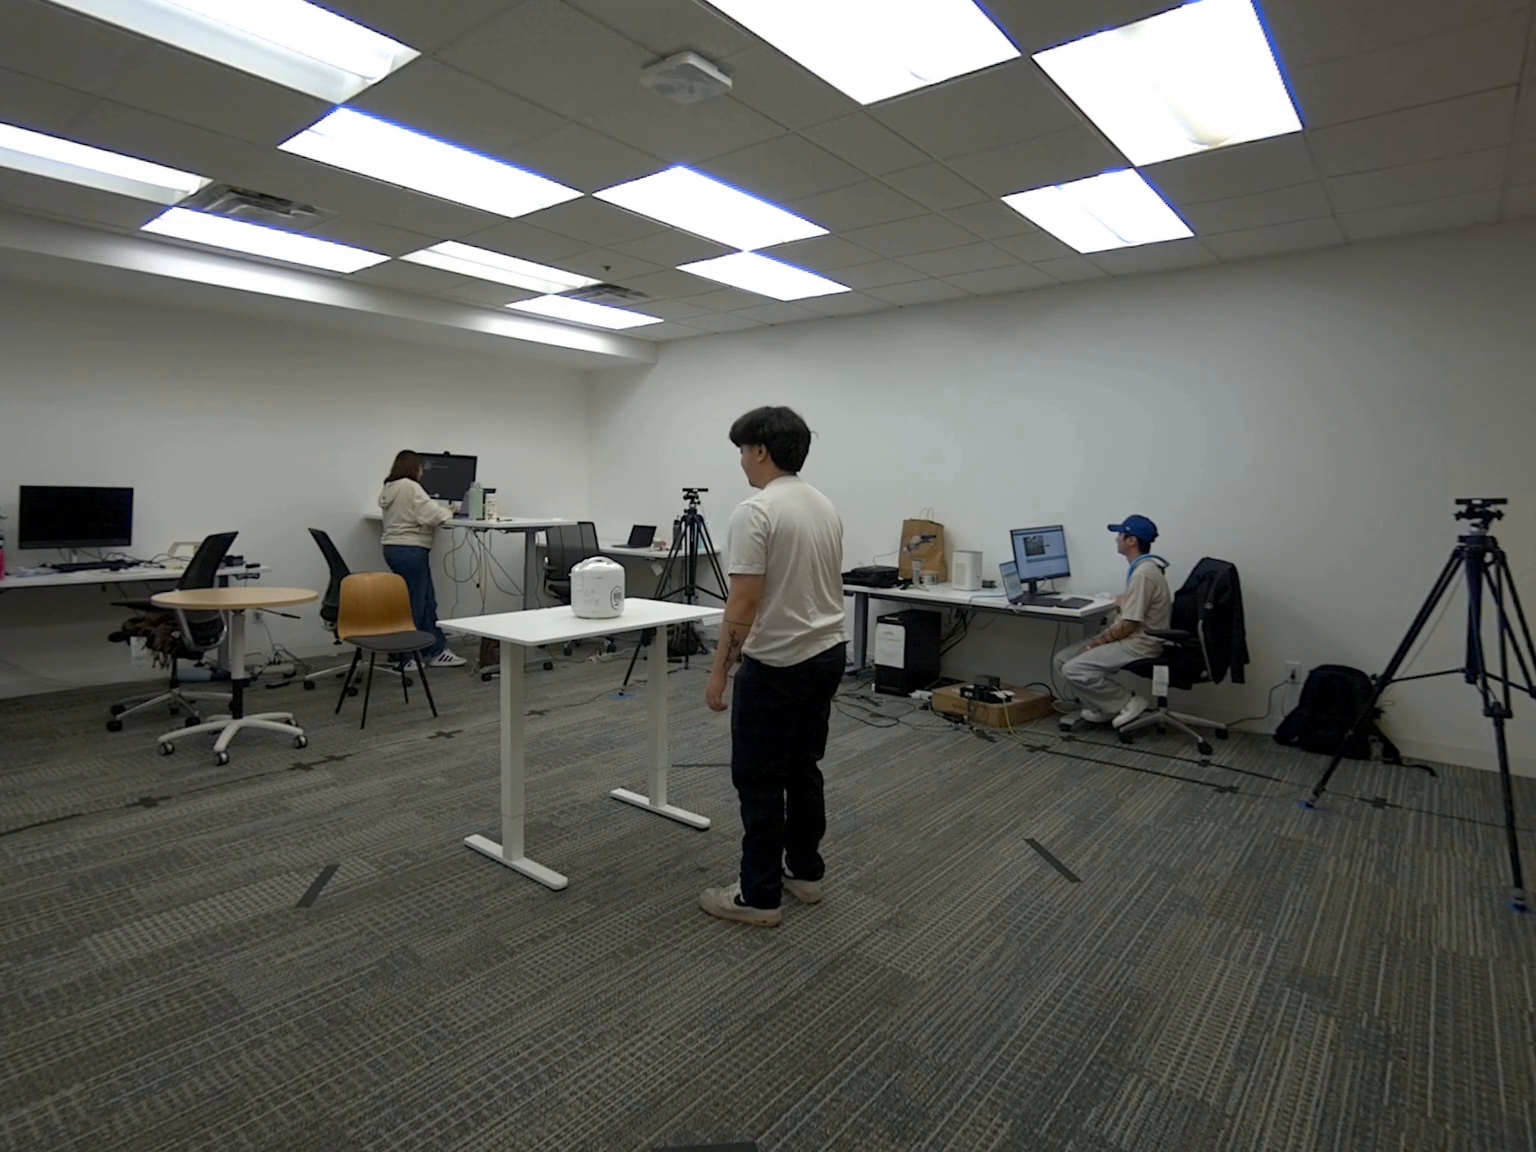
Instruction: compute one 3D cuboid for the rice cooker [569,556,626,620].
[{"bbox_3d":[-0.679,0.040,3.348,0.224,0.232,0.214,2,5,38],"label":"rice cooker"}]
